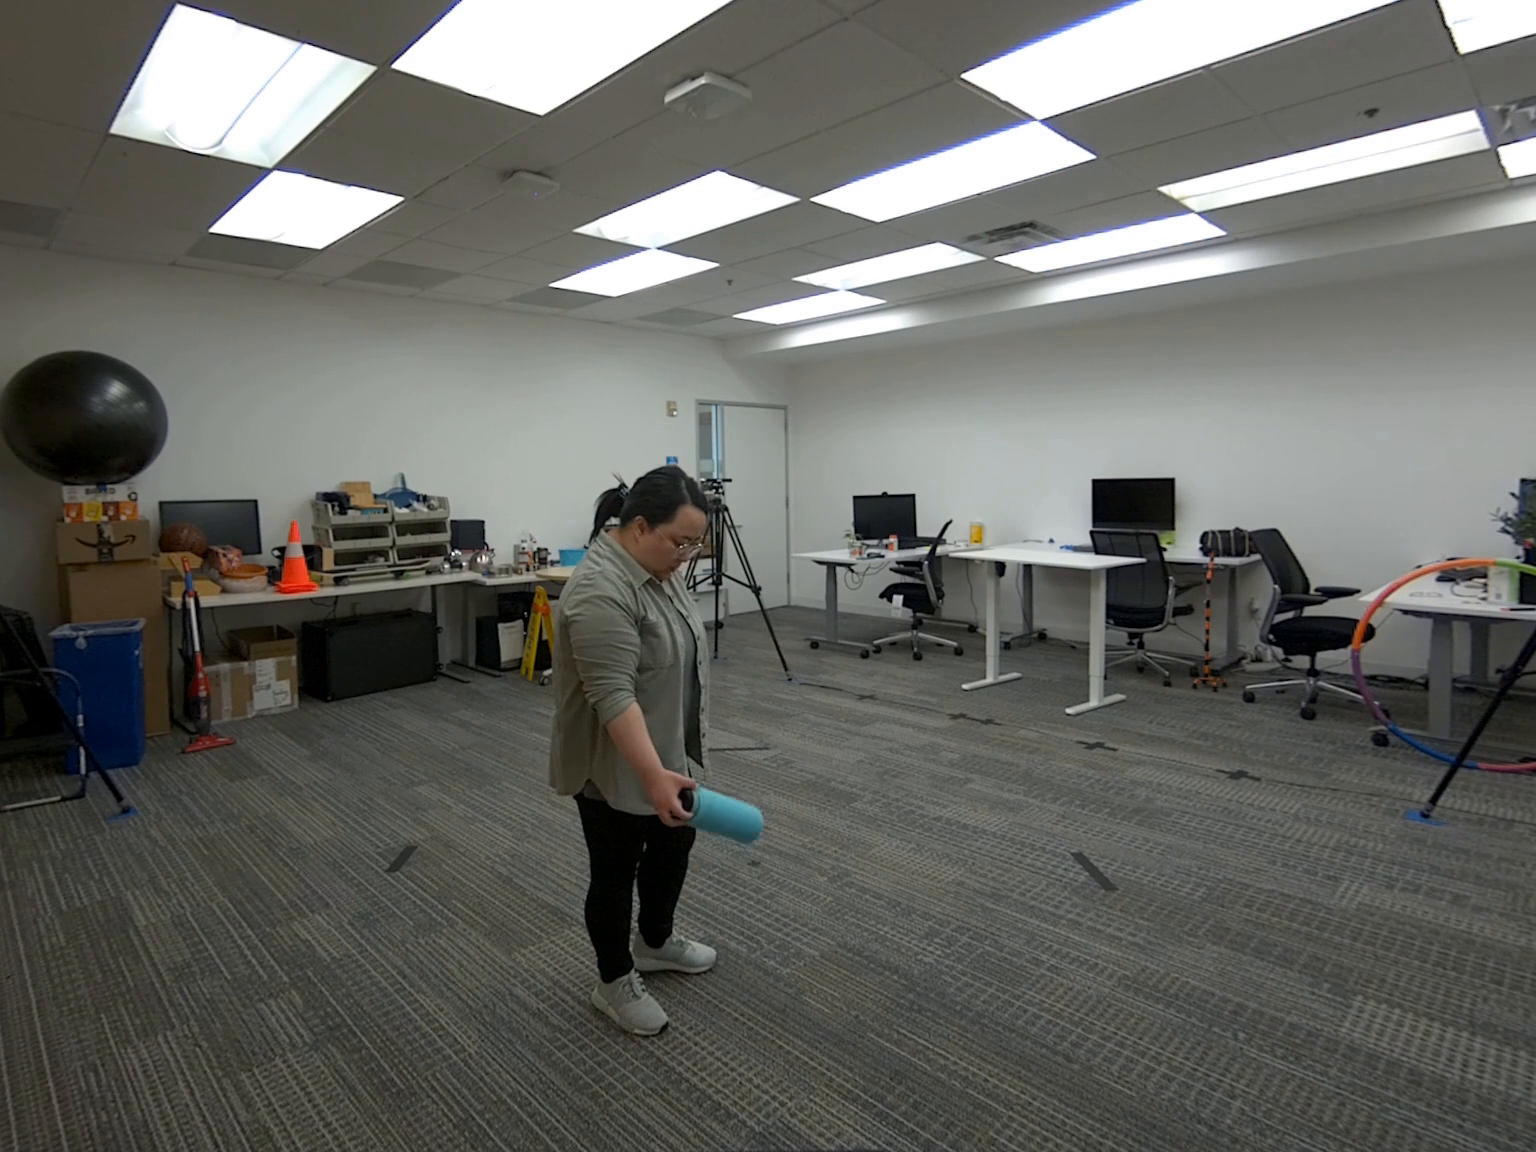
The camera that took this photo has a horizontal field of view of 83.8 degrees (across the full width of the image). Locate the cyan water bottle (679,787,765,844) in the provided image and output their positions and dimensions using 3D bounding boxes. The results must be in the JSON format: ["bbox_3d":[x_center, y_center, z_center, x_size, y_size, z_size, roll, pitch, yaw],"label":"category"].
[{"bbox_3d":[-0.138,0.545,2.000,0.095,0.093,0.272,4,-20,45],"label":"cyan water bottle"}]
